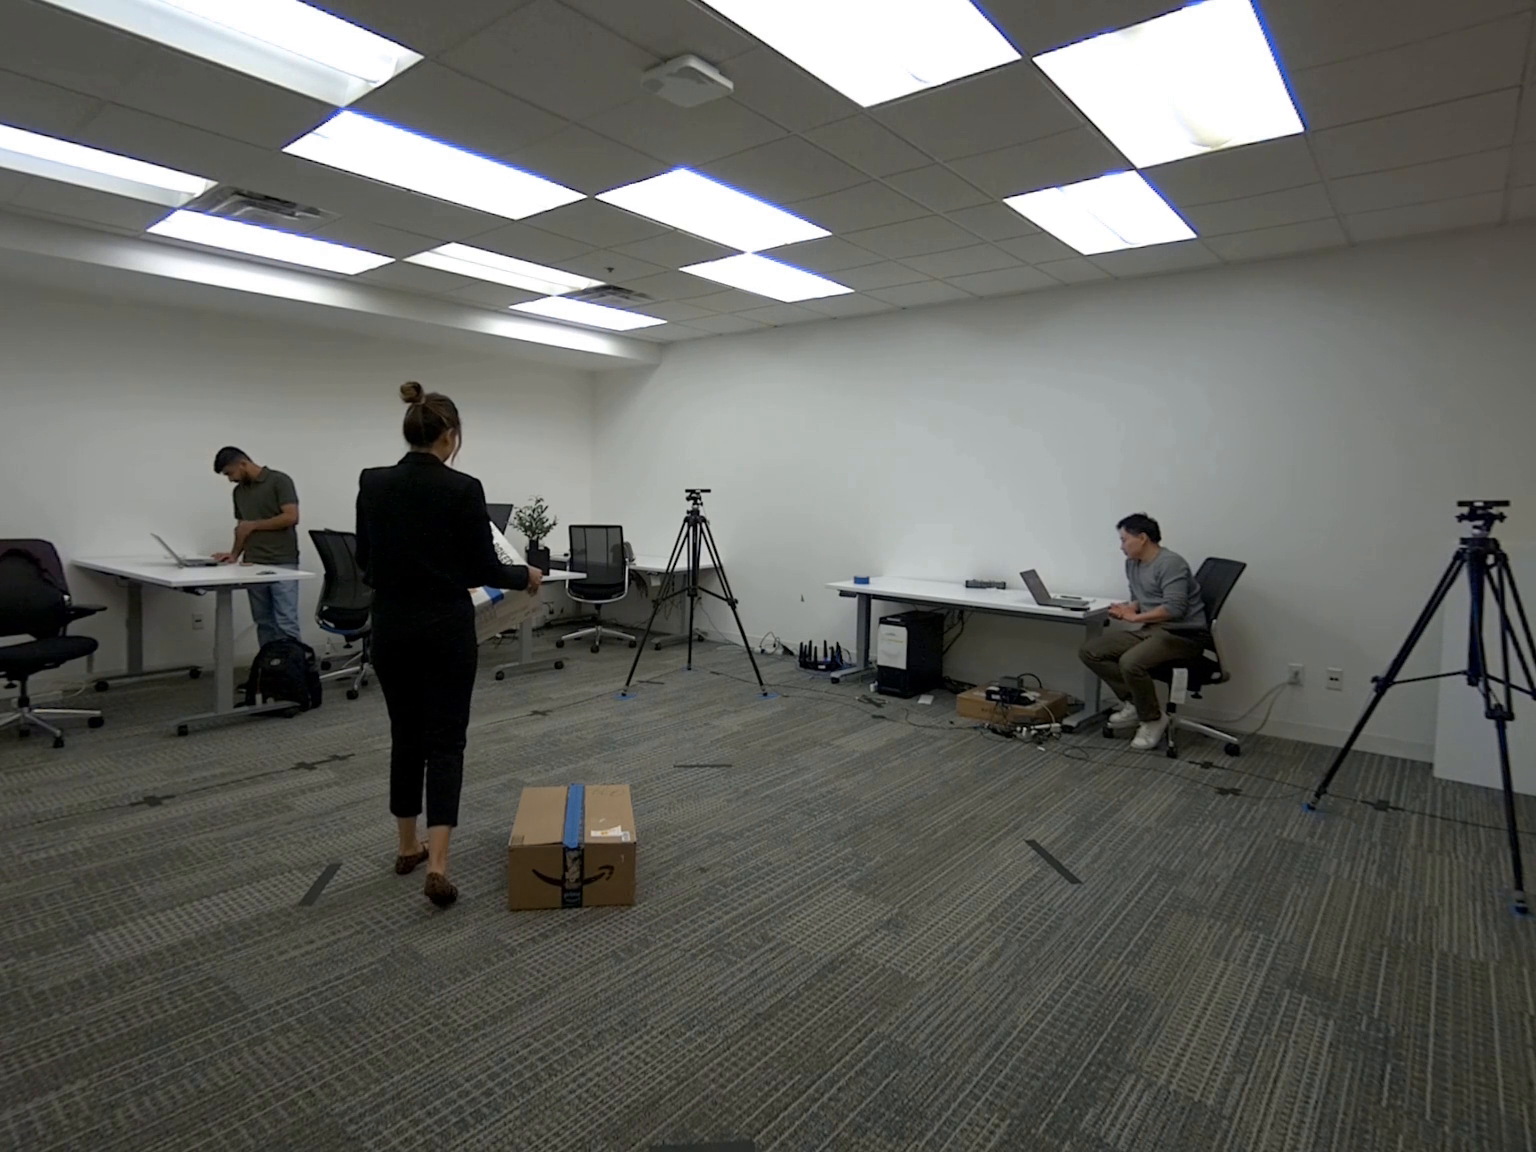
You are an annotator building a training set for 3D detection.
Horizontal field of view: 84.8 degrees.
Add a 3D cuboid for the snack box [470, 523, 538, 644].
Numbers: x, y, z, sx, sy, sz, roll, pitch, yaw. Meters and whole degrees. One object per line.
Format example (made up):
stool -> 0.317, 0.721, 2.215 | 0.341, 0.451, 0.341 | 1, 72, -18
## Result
snack box -> -1.168, 0.023, 3.416 | 0.336, 0.200, 0.421 | -28, 53, -29
